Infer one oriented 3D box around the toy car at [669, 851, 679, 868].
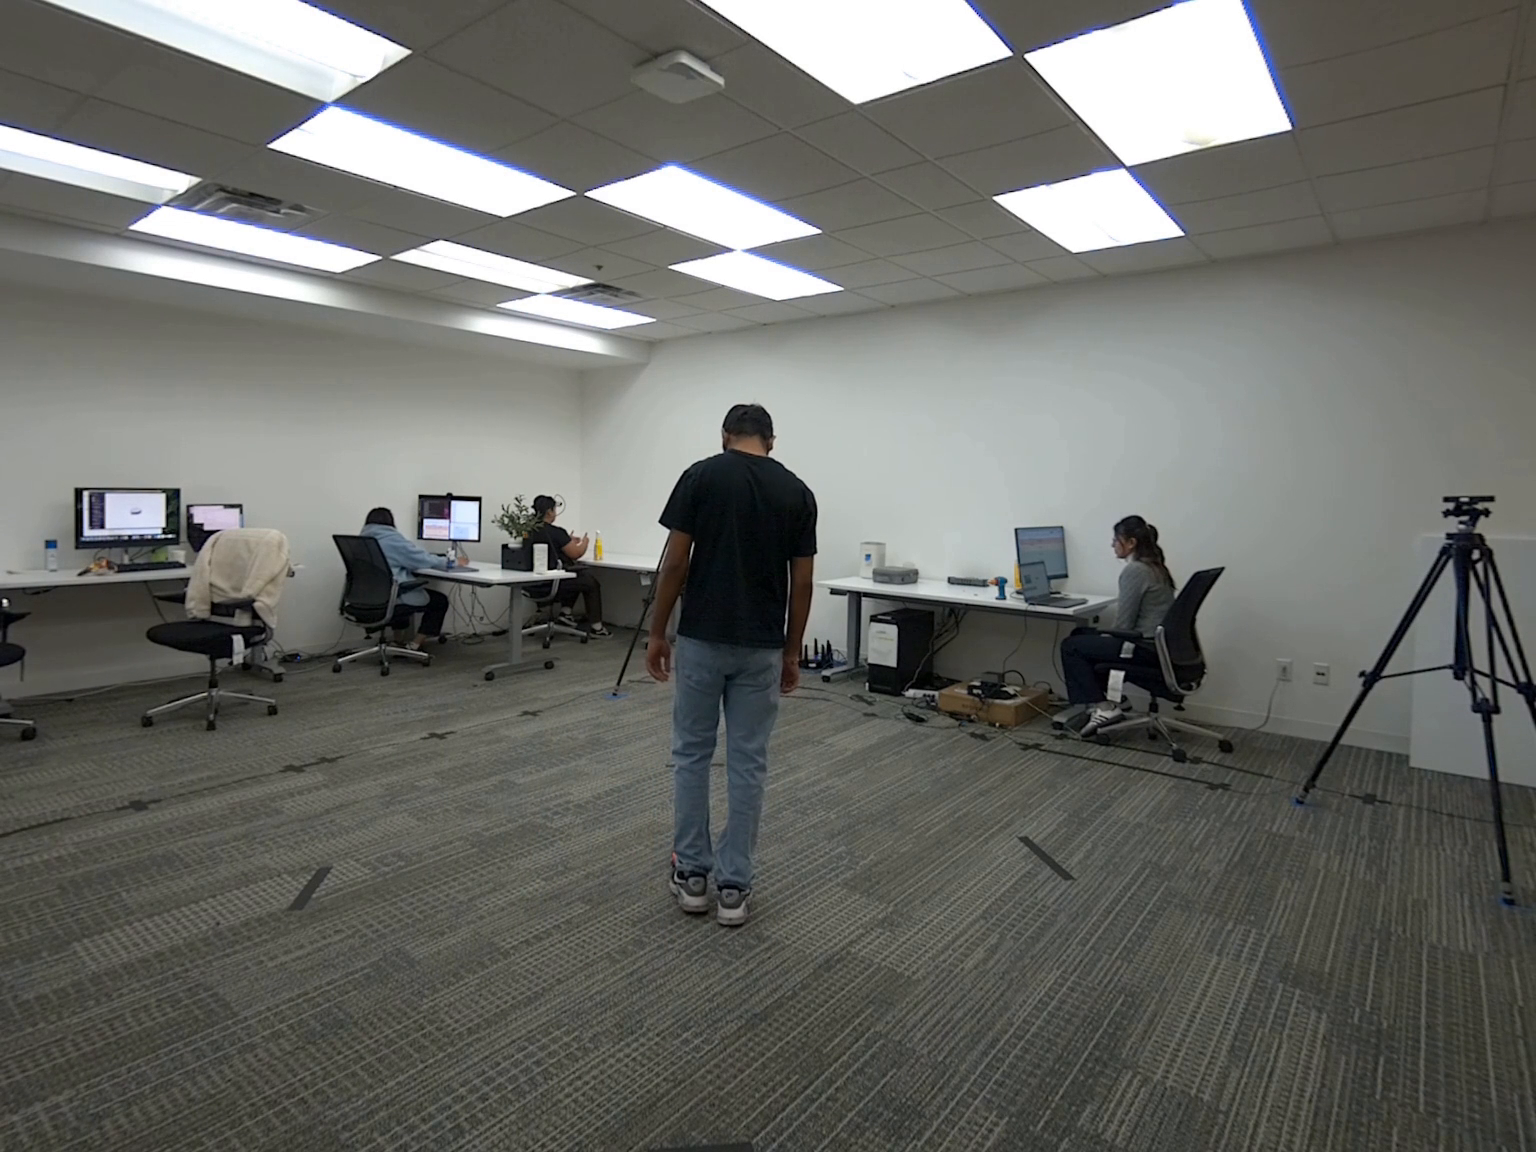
[{"bbox_3d":[-0.299,1.023,3.159,0.130,0.084,0.253,1,-7,-4],"label":"toy car"}]
